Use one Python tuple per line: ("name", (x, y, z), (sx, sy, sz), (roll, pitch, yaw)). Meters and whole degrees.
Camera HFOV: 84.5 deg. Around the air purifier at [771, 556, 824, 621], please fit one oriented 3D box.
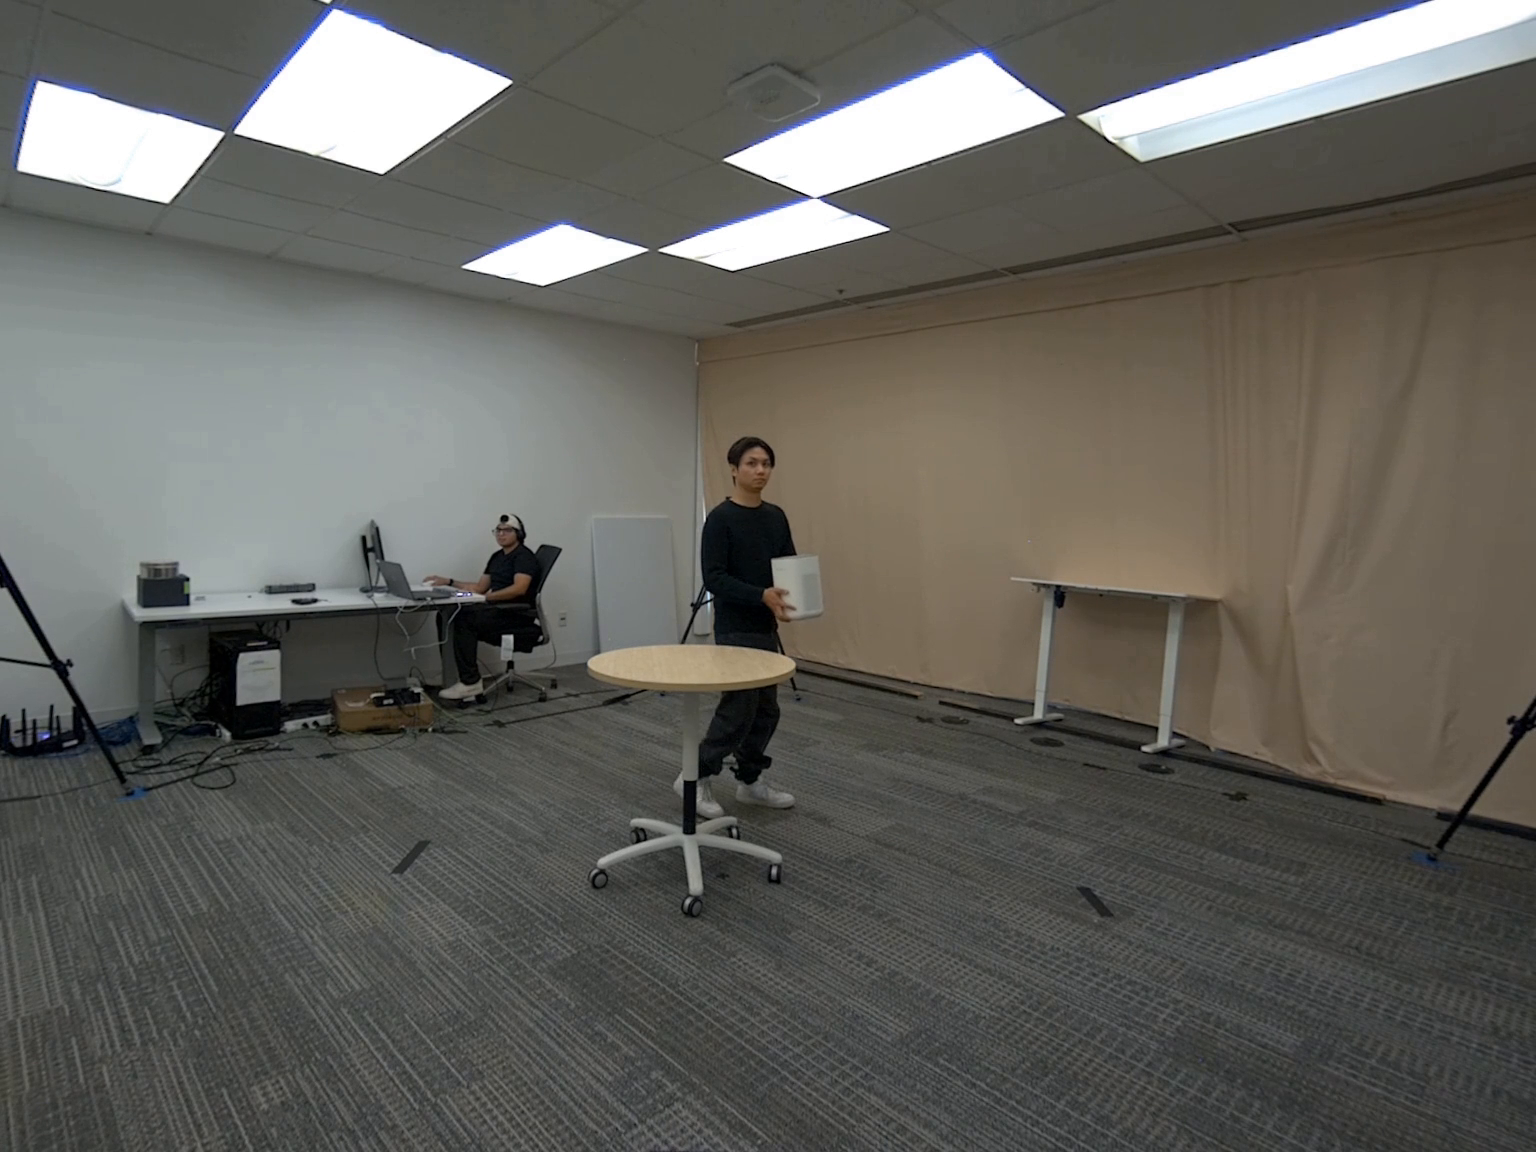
("air purifier", (0.107, 0.048, 3.582), (0.168, 0.265, 0.175), (-6, 1, -42))
